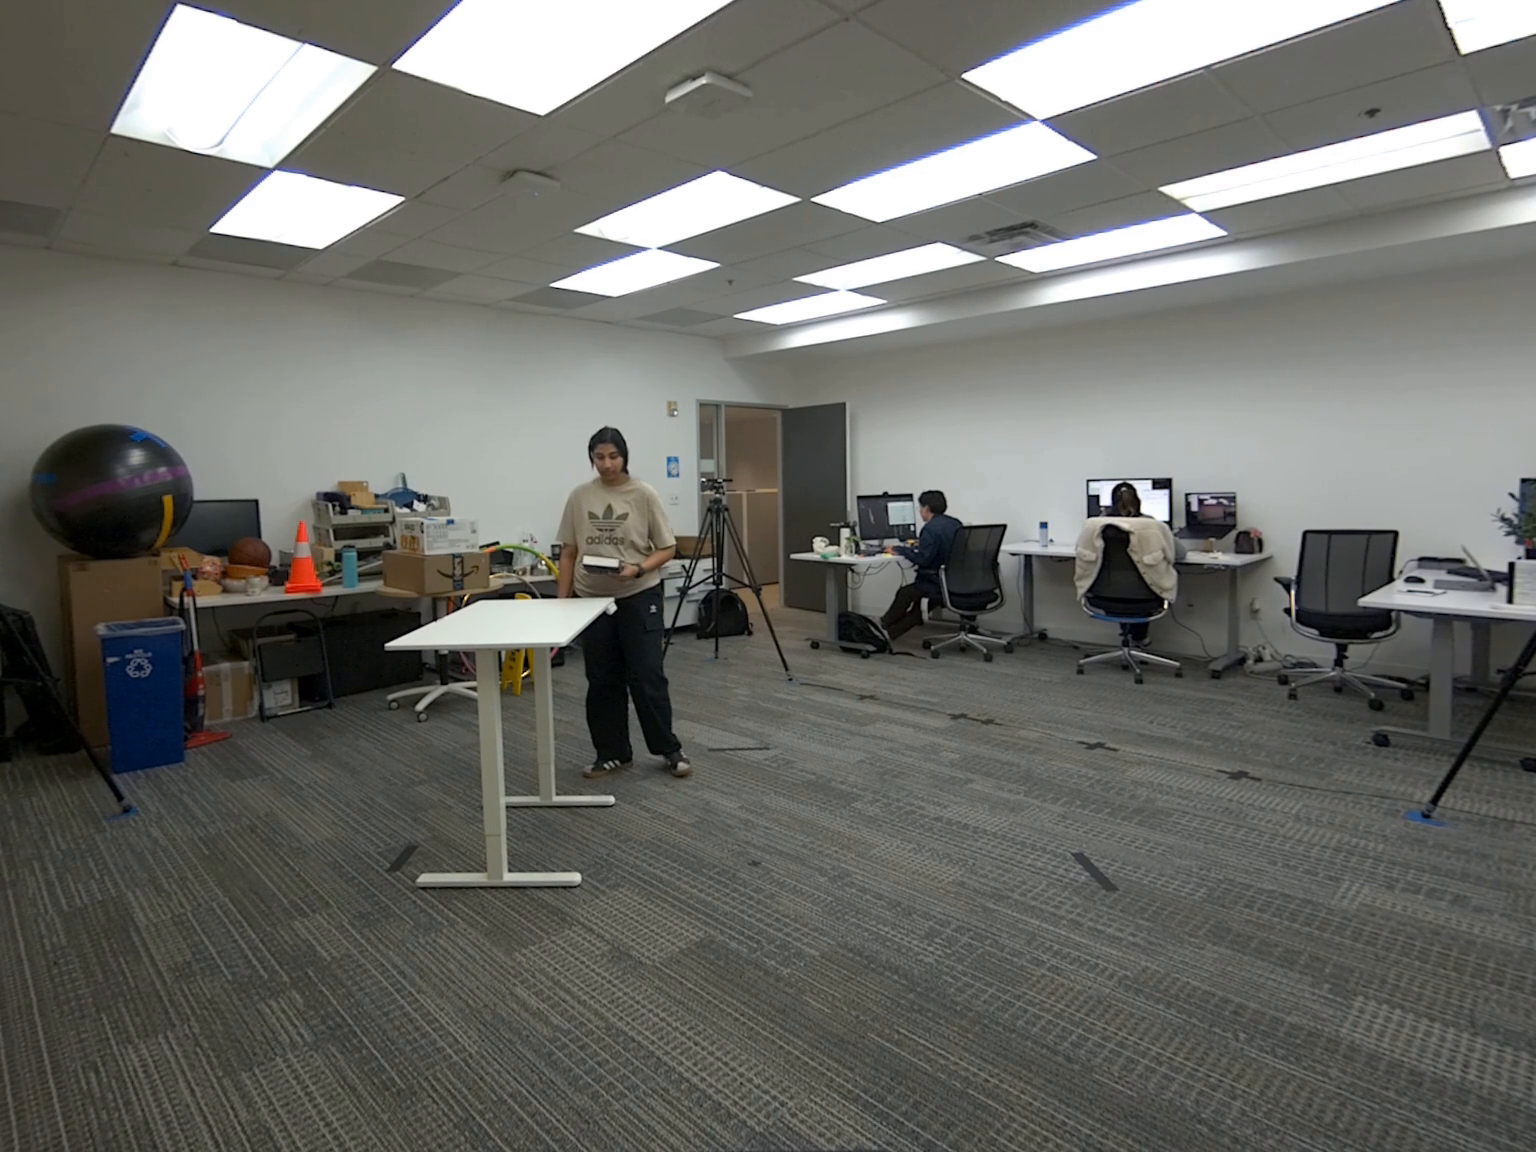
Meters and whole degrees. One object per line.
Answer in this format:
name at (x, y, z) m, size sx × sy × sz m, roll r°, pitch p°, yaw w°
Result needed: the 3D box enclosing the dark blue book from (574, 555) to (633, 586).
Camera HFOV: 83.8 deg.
dark blue book at (-0.735, -0.040, 3.837) m, size 0.163 × 0.045 × 0.244 m, roll 6°, pitch -8°, yaw -3°
